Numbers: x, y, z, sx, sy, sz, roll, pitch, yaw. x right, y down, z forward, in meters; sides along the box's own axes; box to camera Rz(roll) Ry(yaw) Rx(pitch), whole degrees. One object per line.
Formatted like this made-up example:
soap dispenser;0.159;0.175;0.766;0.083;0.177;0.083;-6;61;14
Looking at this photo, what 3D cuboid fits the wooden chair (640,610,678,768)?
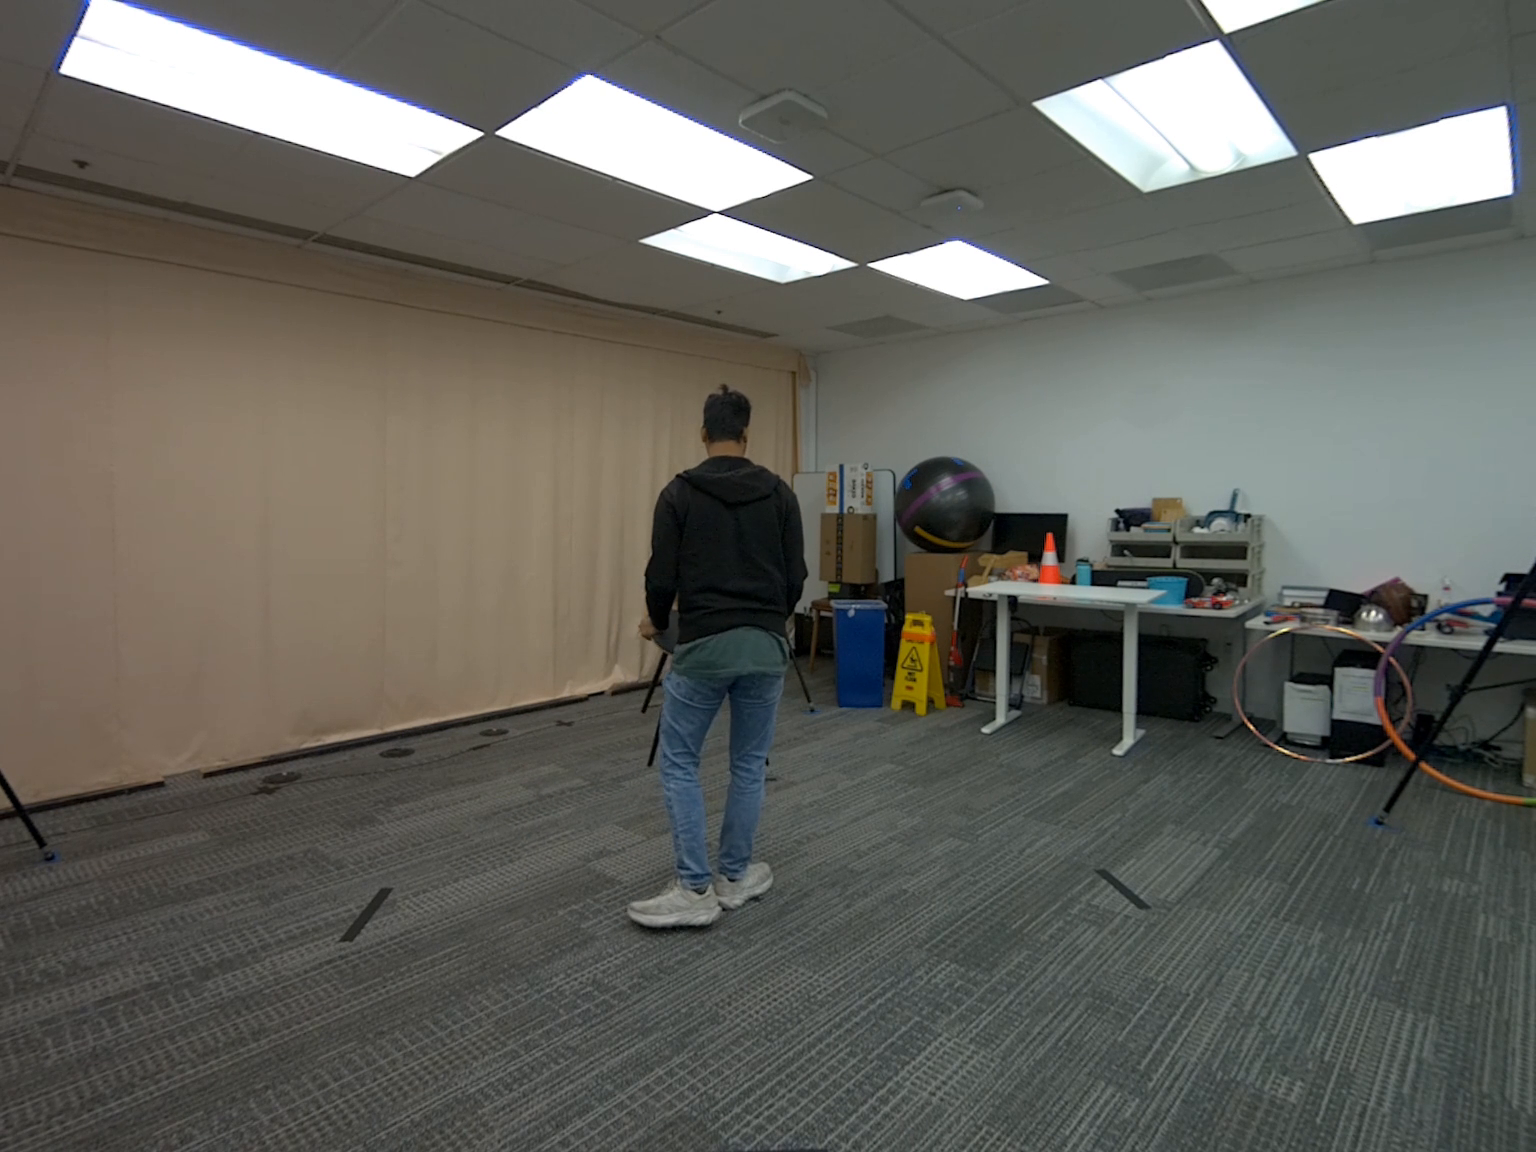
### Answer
wooden chair;-0.230;0.234;3.204;0.472;0.872;0.532;3;11;-12
